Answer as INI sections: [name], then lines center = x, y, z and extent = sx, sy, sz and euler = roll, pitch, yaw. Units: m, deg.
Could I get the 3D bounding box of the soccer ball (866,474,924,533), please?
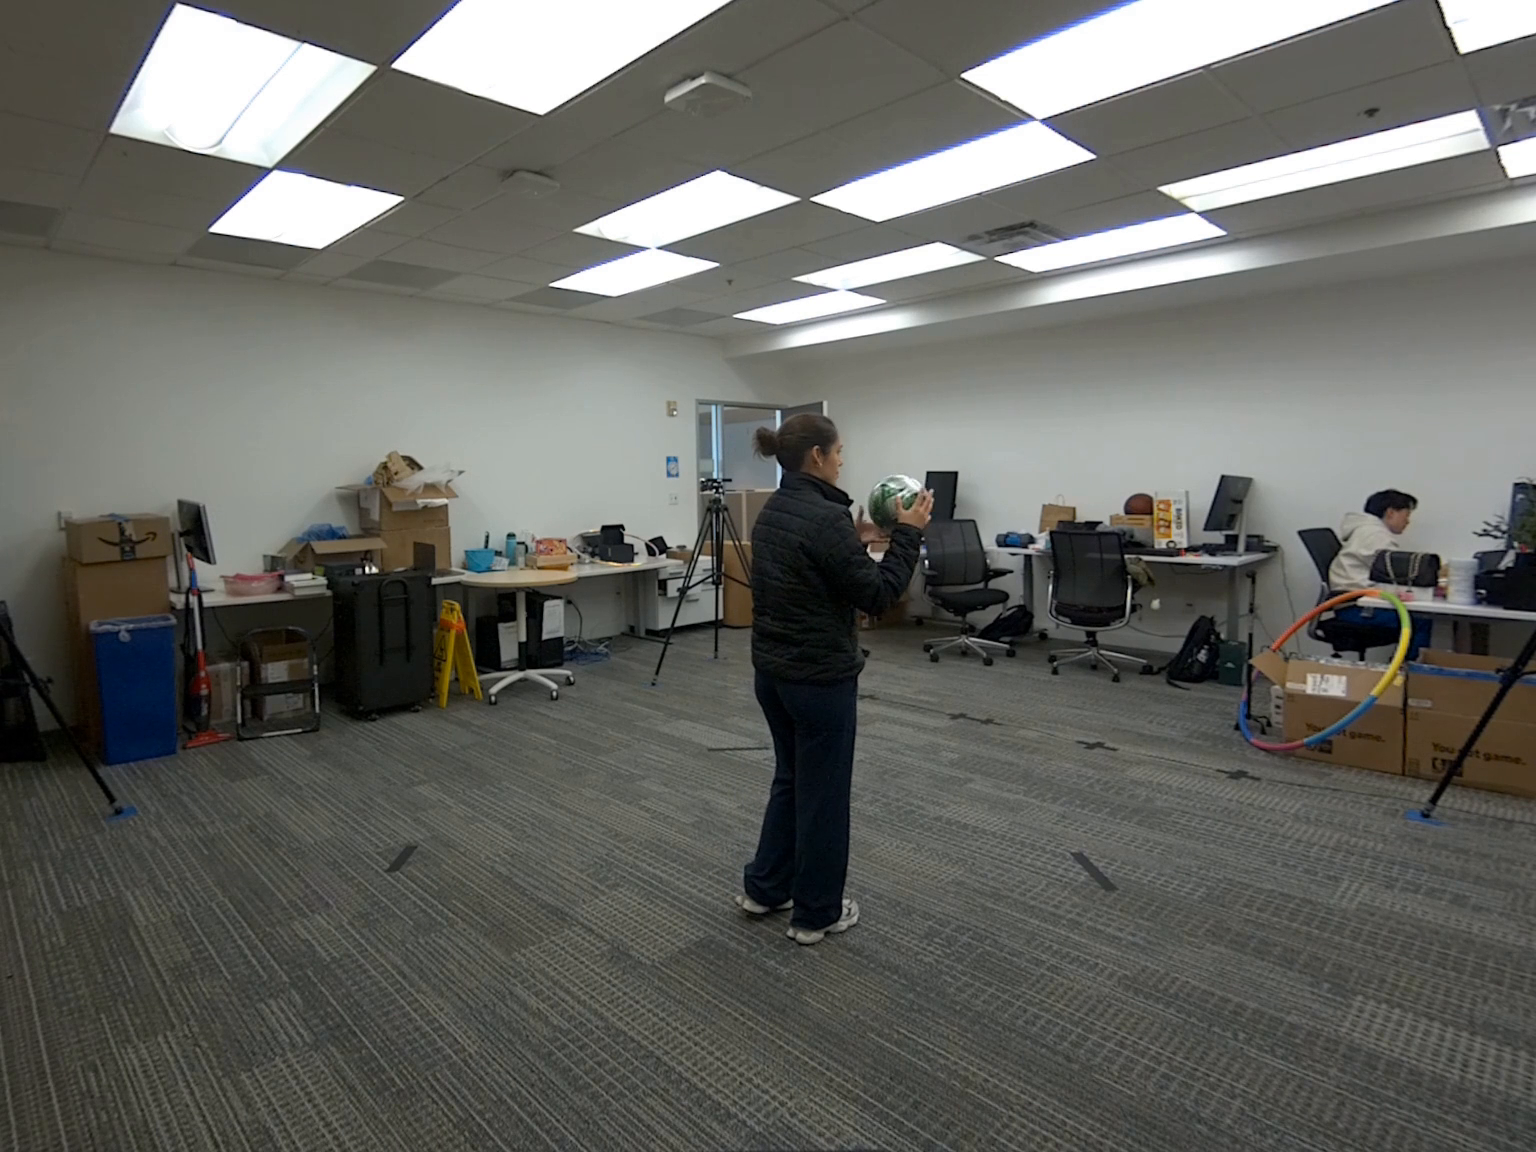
[soccer ball]
center = 0.396, -0.211, 2.612
extent = 0.187, 0.187, 0.188
euler = -1, 5, -2
